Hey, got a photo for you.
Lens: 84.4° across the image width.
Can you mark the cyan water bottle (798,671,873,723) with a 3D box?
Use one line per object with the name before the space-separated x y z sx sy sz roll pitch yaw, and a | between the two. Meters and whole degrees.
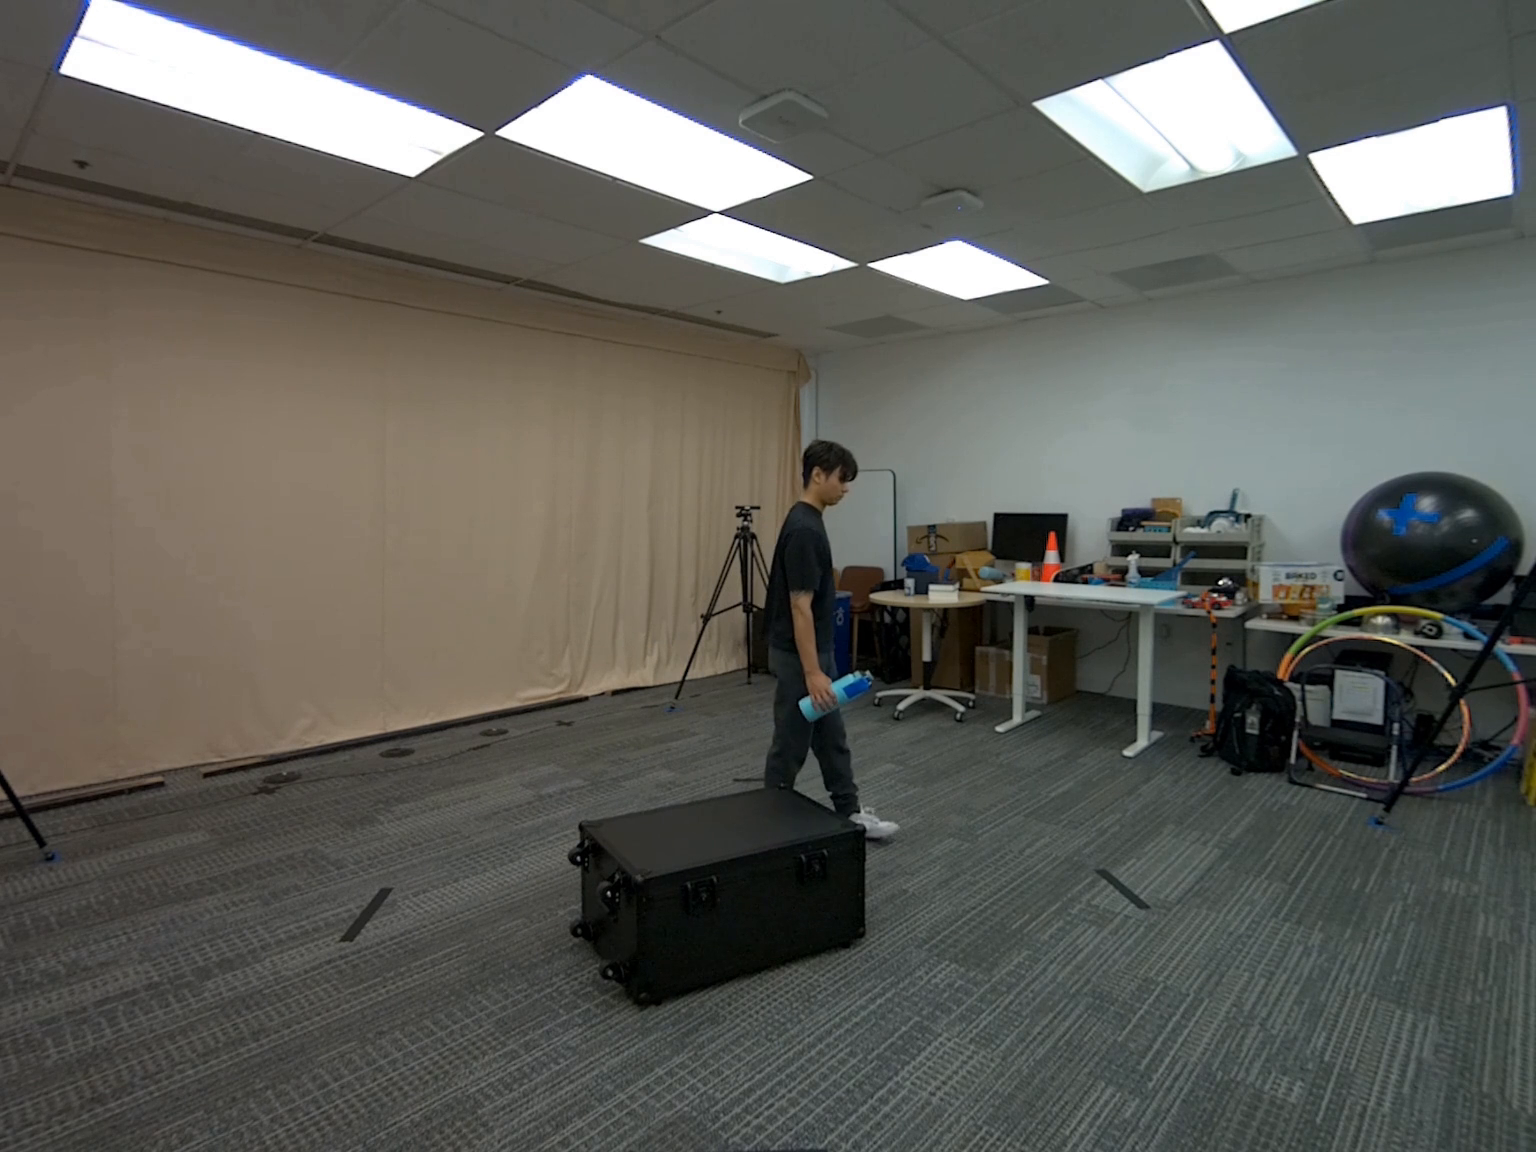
cyan water bottle | 0.262 0.436 3.122 0.286 0.093 0.091 -30 -3 13
